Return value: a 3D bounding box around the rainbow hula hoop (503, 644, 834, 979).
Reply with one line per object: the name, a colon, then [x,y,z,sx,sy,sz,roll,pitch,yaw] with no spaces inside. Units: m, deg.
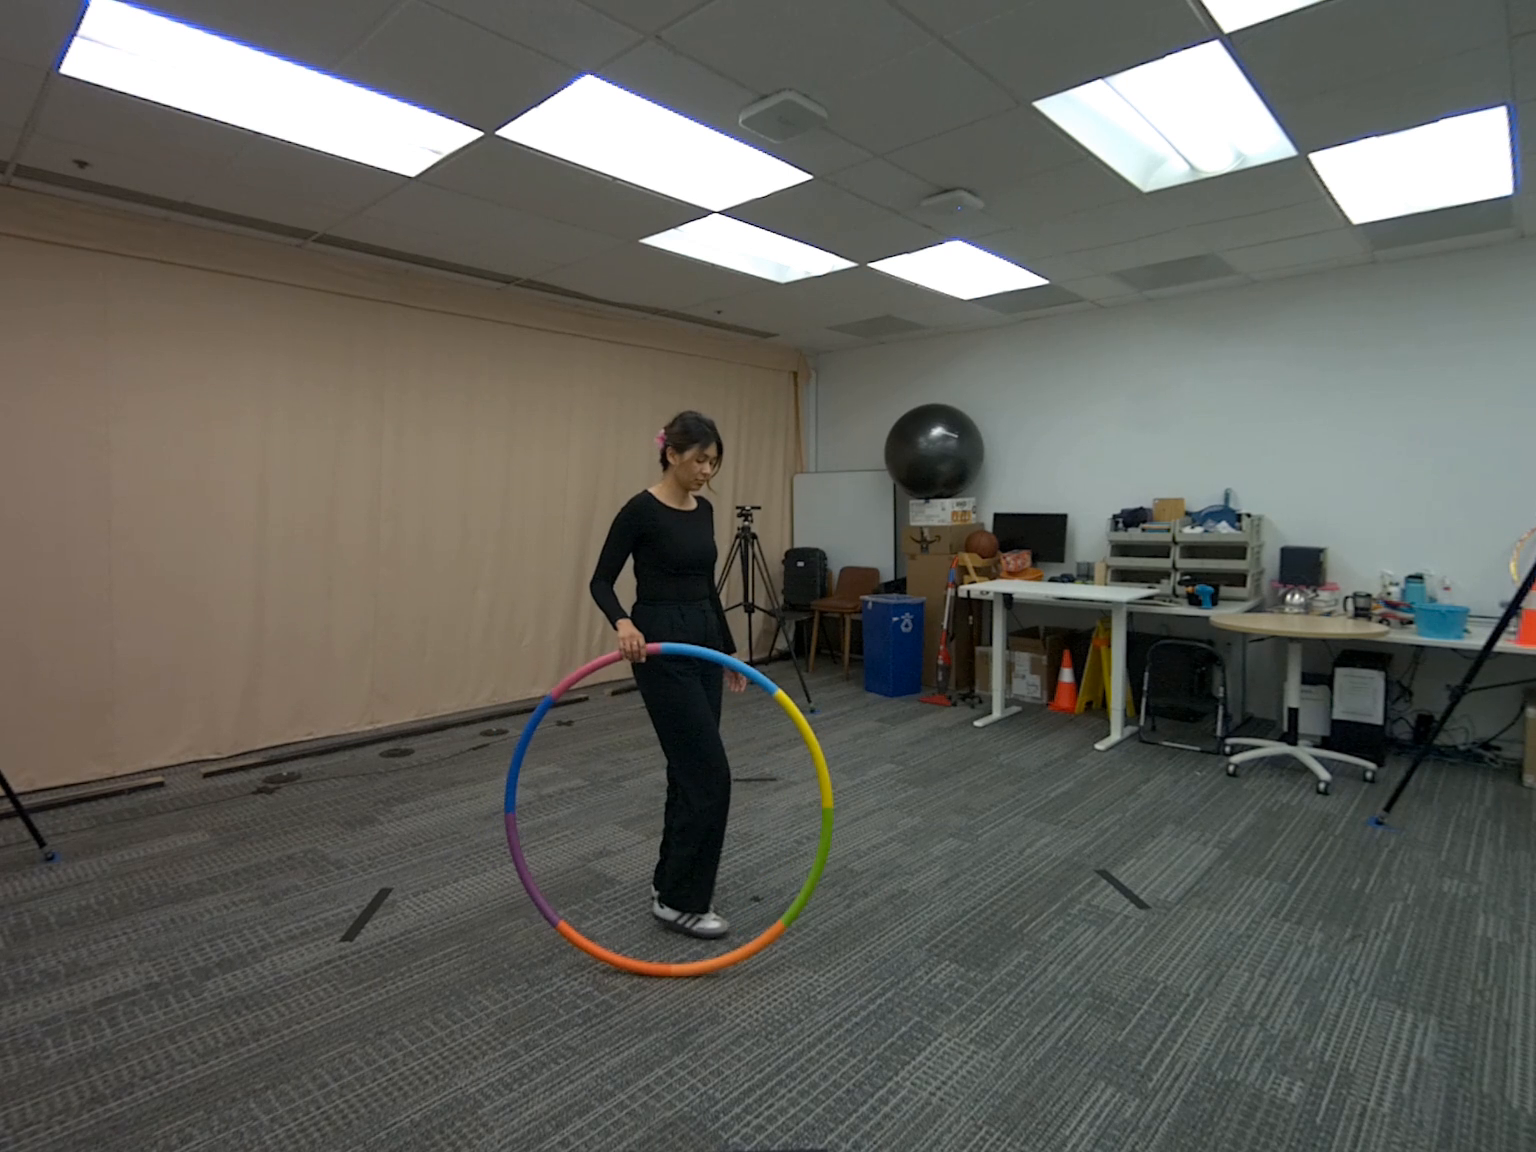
rainbow hula hoop: [-0.297,0.700,2.519,0.984,0.979,0.035,0,-2,5]
